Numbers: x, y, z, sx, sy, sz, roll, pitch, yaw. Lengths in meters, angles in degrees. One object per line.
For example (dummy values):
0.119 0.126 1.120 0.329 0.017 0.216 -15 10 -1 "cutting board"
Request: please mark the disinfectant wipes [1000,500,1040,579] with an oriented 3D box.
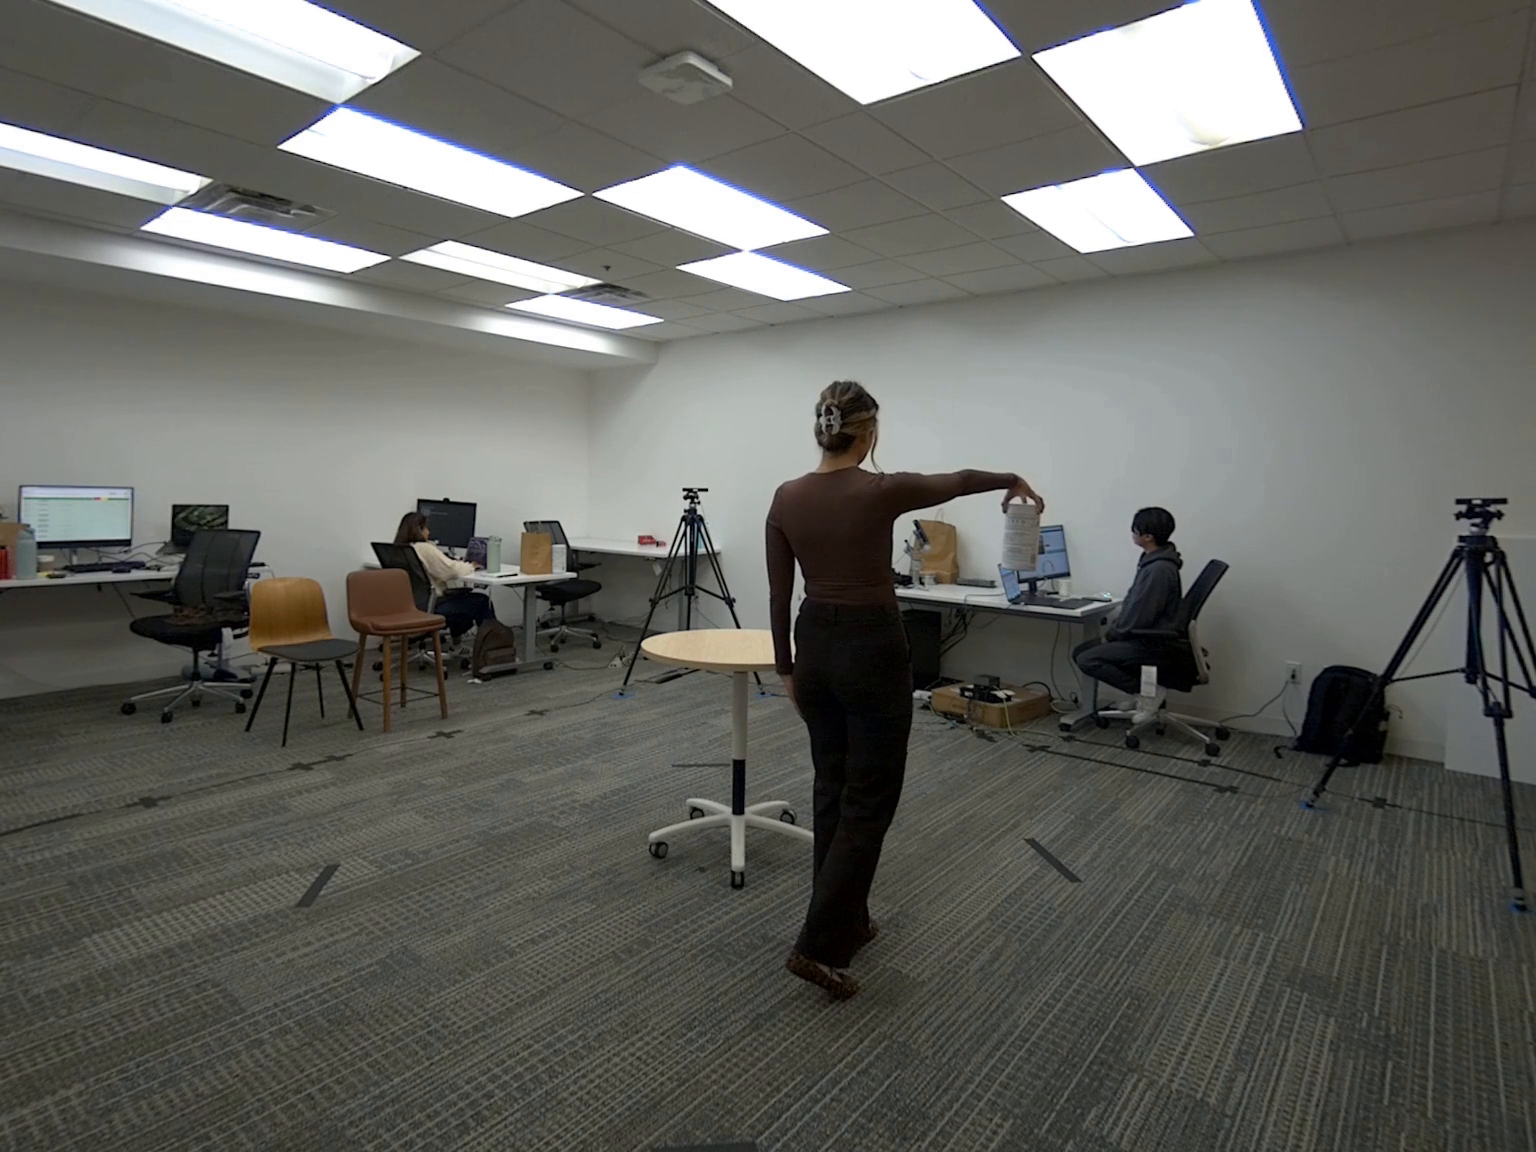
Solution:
0.813 -0.129 2.756 0.117 0.217 0.118 3 3 -2 "disinfectant wipes"
